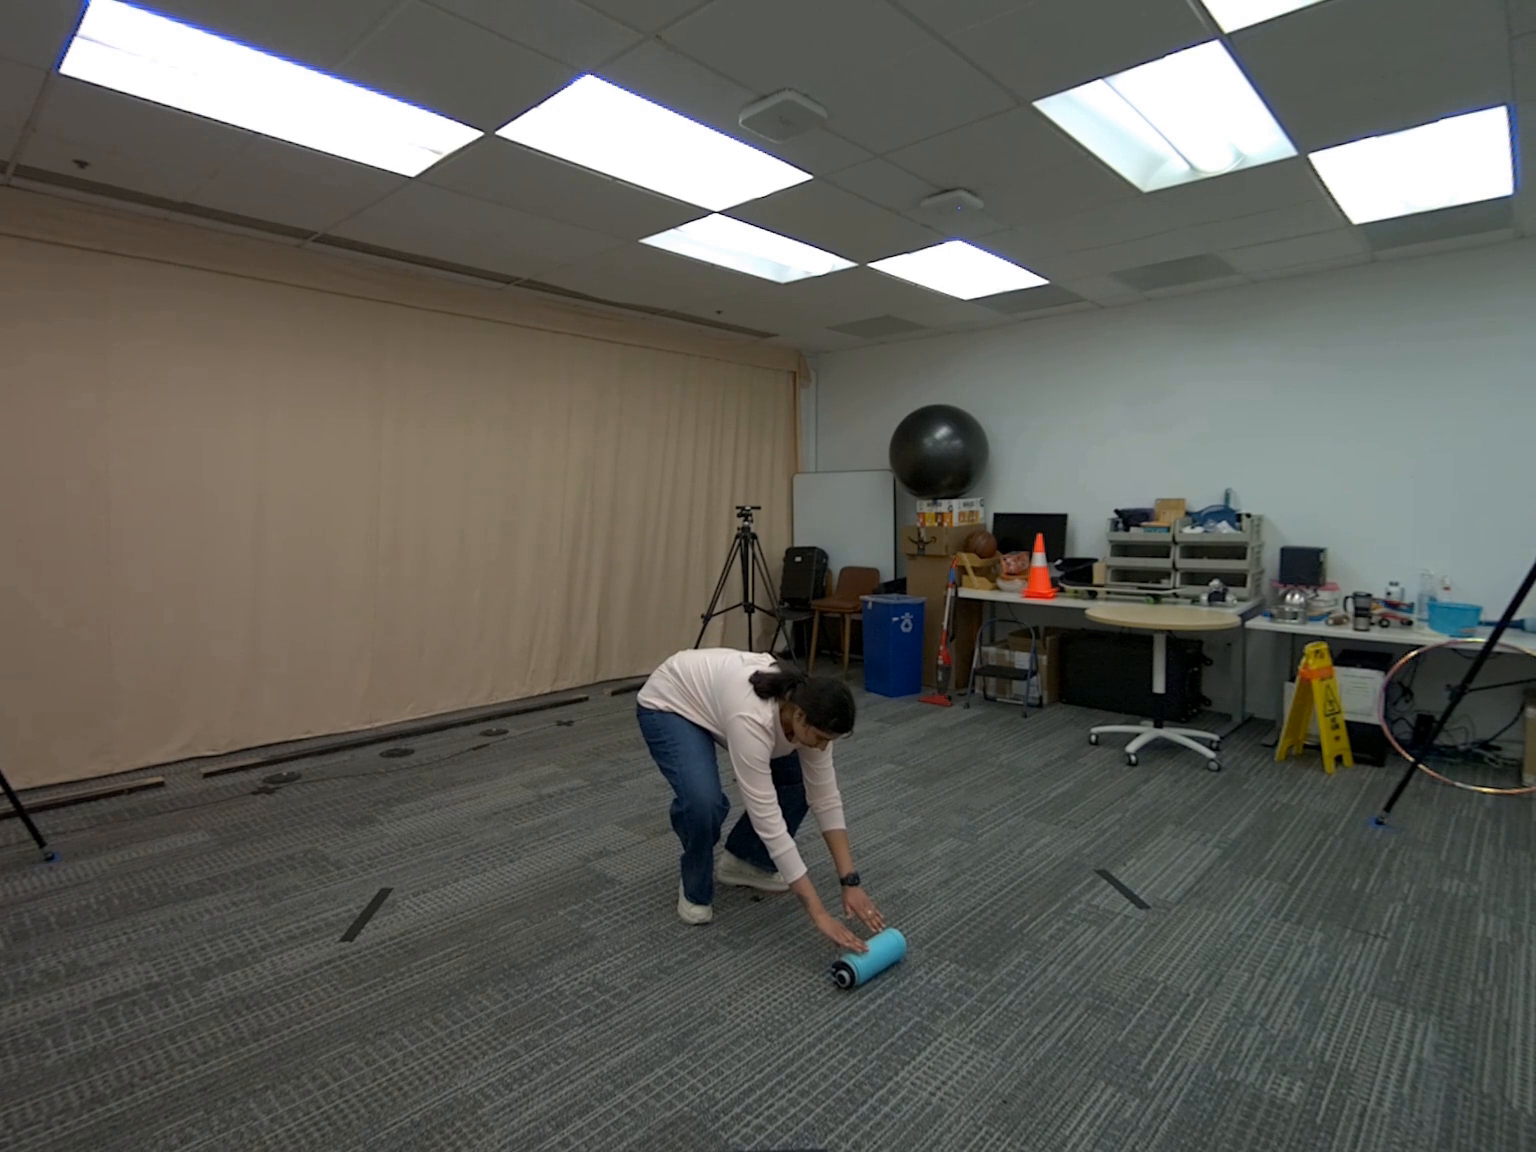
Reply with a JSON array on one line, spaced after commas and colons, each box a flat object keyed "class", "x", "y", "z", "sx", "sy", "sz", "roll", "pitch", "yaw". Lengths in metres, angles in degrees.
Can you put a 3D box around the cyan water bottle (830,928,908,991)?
[{"class": "cyan water bottle", "x": 0.304, "y": 1.139, "z": 2.498, "sx": 0.275, "sy": 0.092, "sz": 0.095, "roll": -7, "pitch": 8, "yaw": -43}]
